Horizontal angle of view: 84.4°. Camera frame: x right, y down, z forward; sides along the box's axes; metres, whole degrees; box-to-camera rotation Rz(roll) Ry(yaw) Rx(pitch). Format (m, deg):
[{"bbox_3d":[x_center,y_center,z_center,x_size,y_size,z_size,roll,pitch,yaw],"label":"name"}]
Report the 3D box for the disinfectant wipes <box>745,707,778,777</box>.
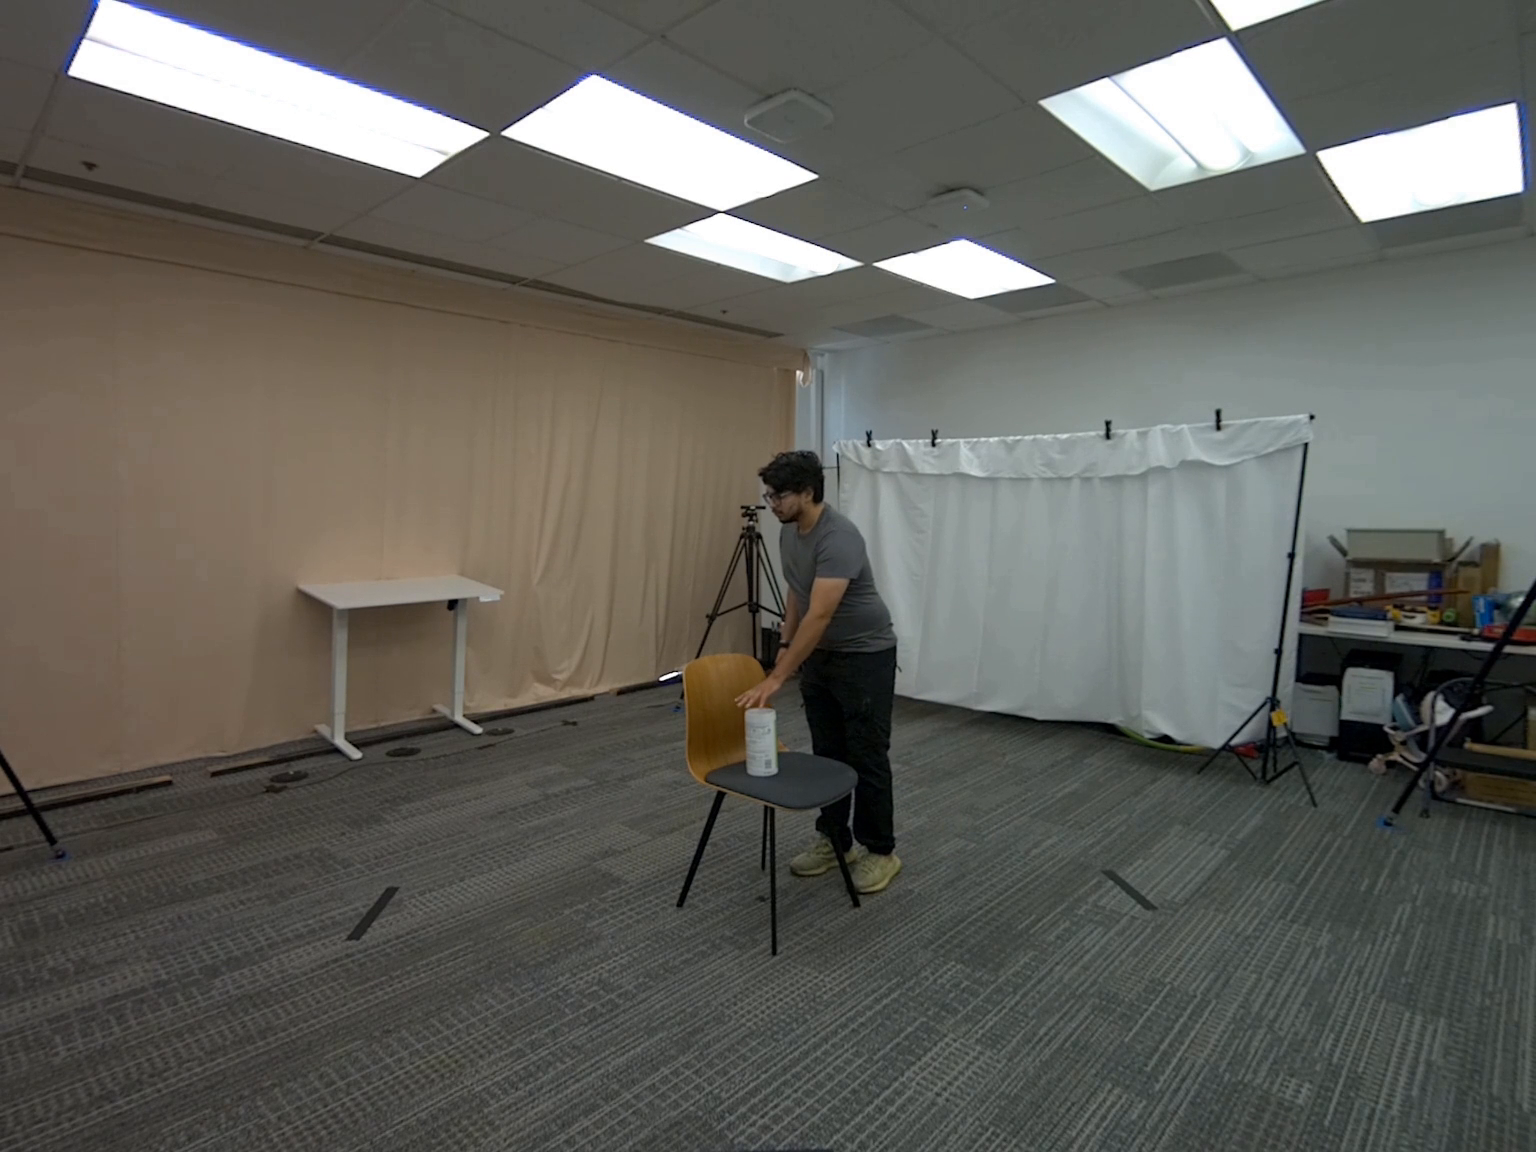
[{"bbox_3d":[-0.024,0.572,2.906,0.118,0.217,0.118,-1,1,-2],"label":"disinfectant wipes"}]
